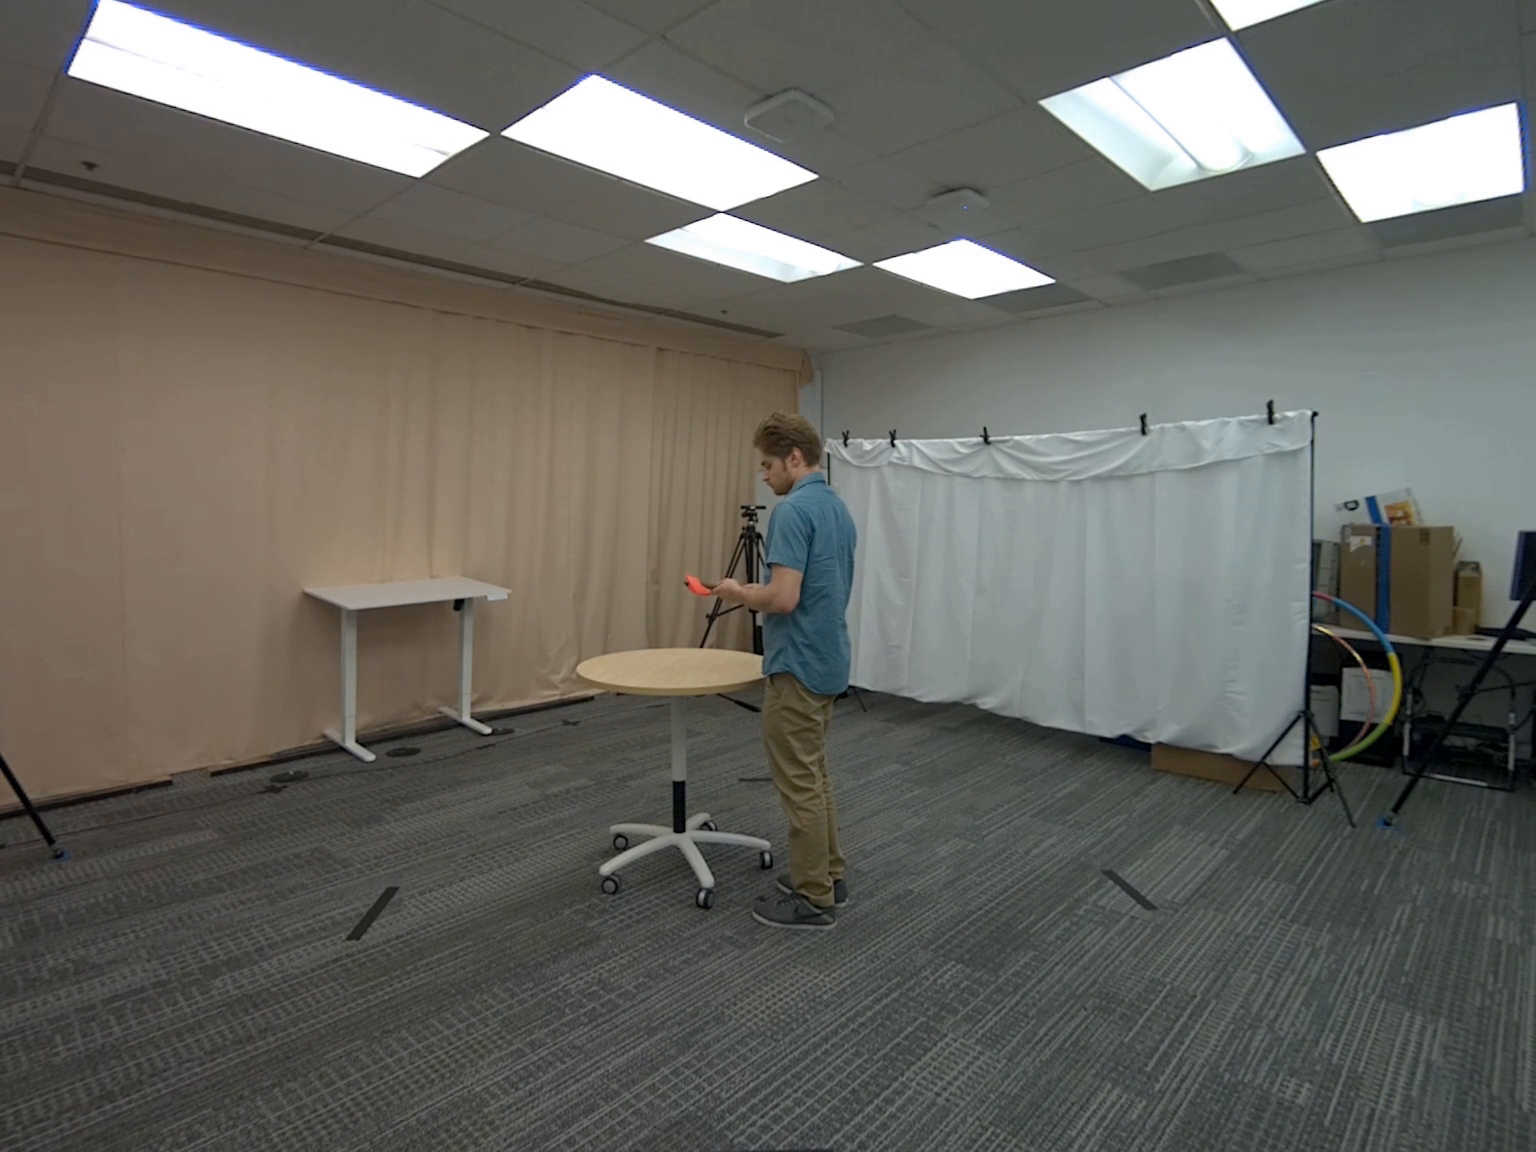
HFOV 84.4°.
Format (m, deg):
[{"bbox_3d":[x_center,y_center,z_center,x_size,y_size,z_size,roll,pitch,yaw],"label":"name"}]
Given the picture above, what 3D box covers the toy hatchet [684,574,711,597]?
[{"bbox_3d":[-0.155,0.057,2.885,0.268,0.029,0.133,16,21,-8],"label":"toy hatchet"}]
